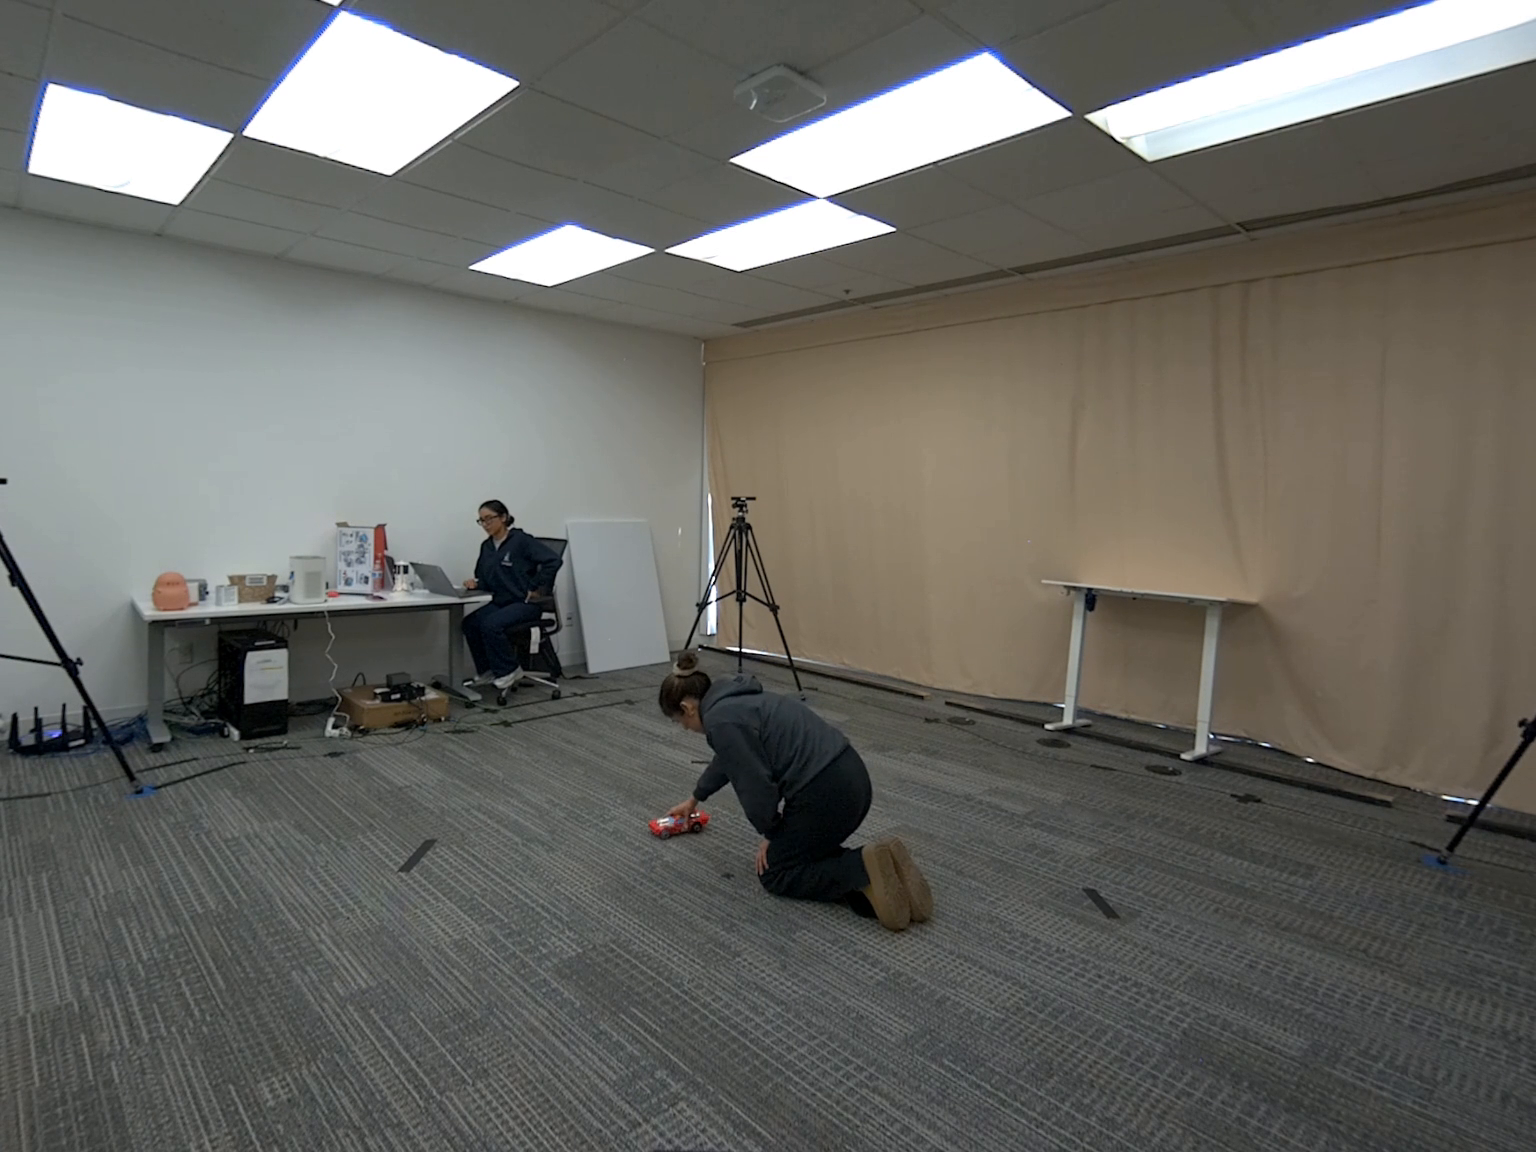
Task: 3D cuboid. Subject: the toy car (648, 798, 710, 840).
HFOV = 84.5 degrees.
[{"bbox_3d":[-0.373,1.031,3.522,0.251,0.082,0.133,-14,12,-29],"label":"toy car"}]
